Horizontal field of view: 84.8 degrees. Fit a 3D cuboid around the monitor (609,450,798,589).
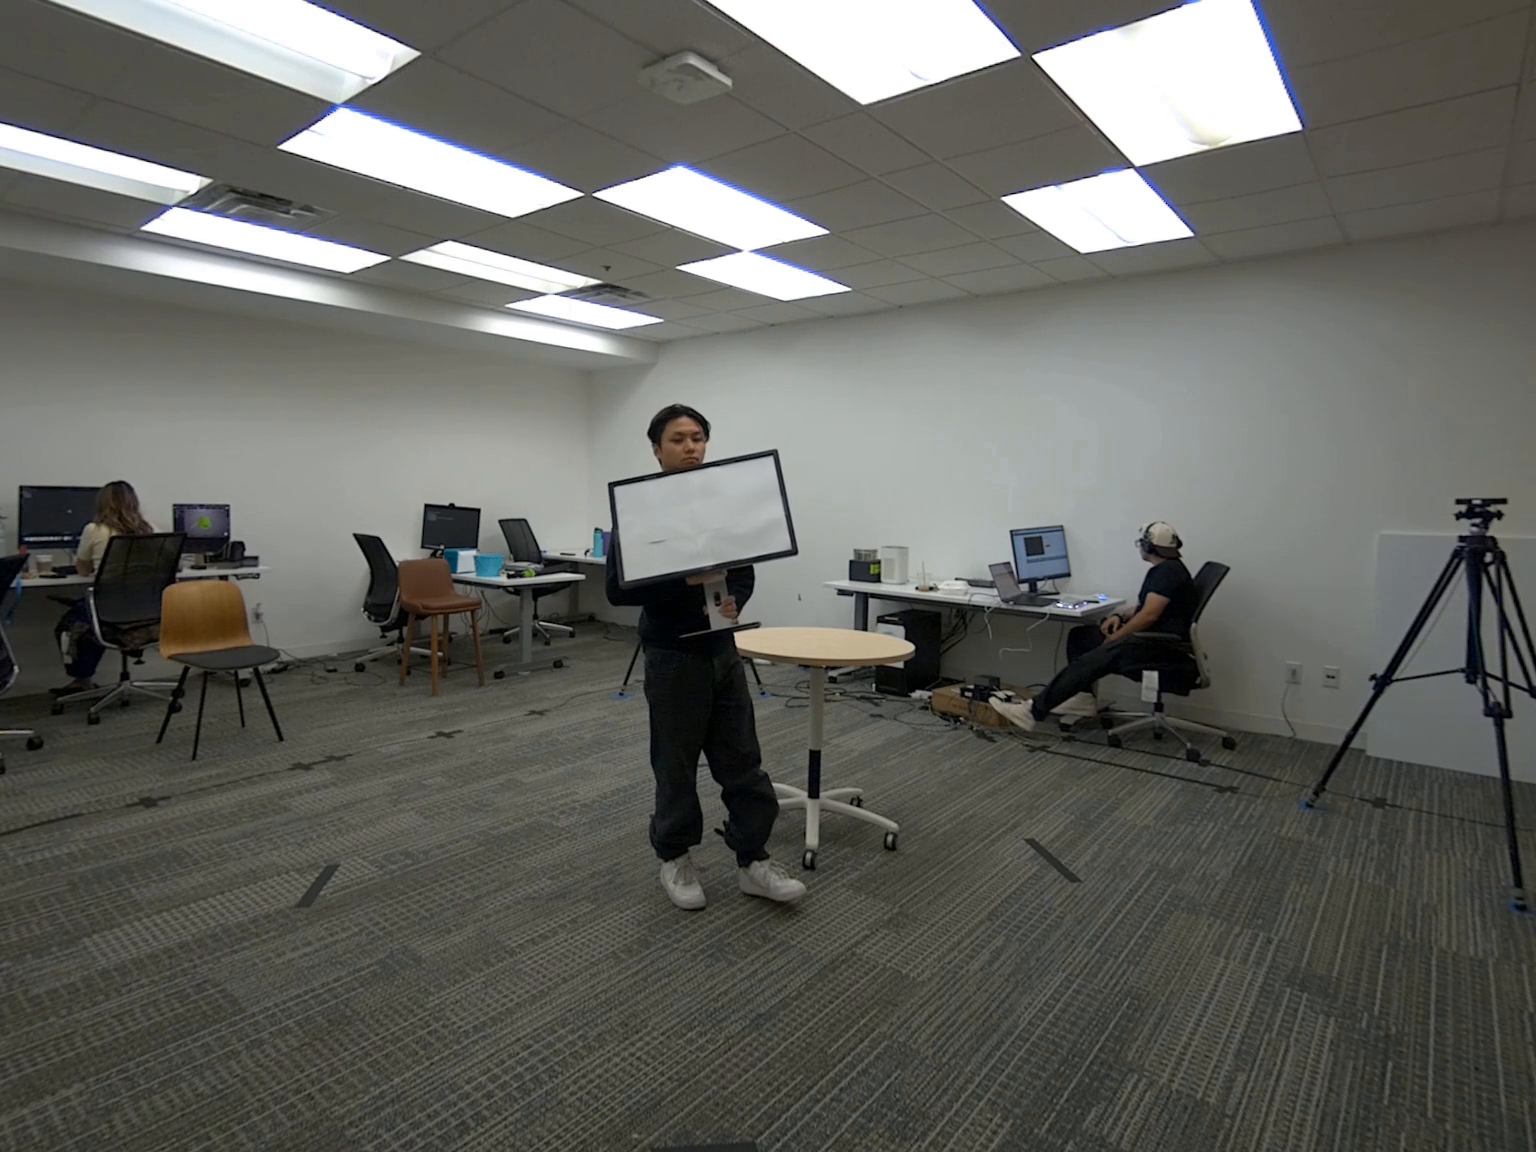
[{"bbox_3d":[-0.193,-0.094,2.676,0.531,0.519,0.173,-11,-4,3],"label":"monitor"}]
